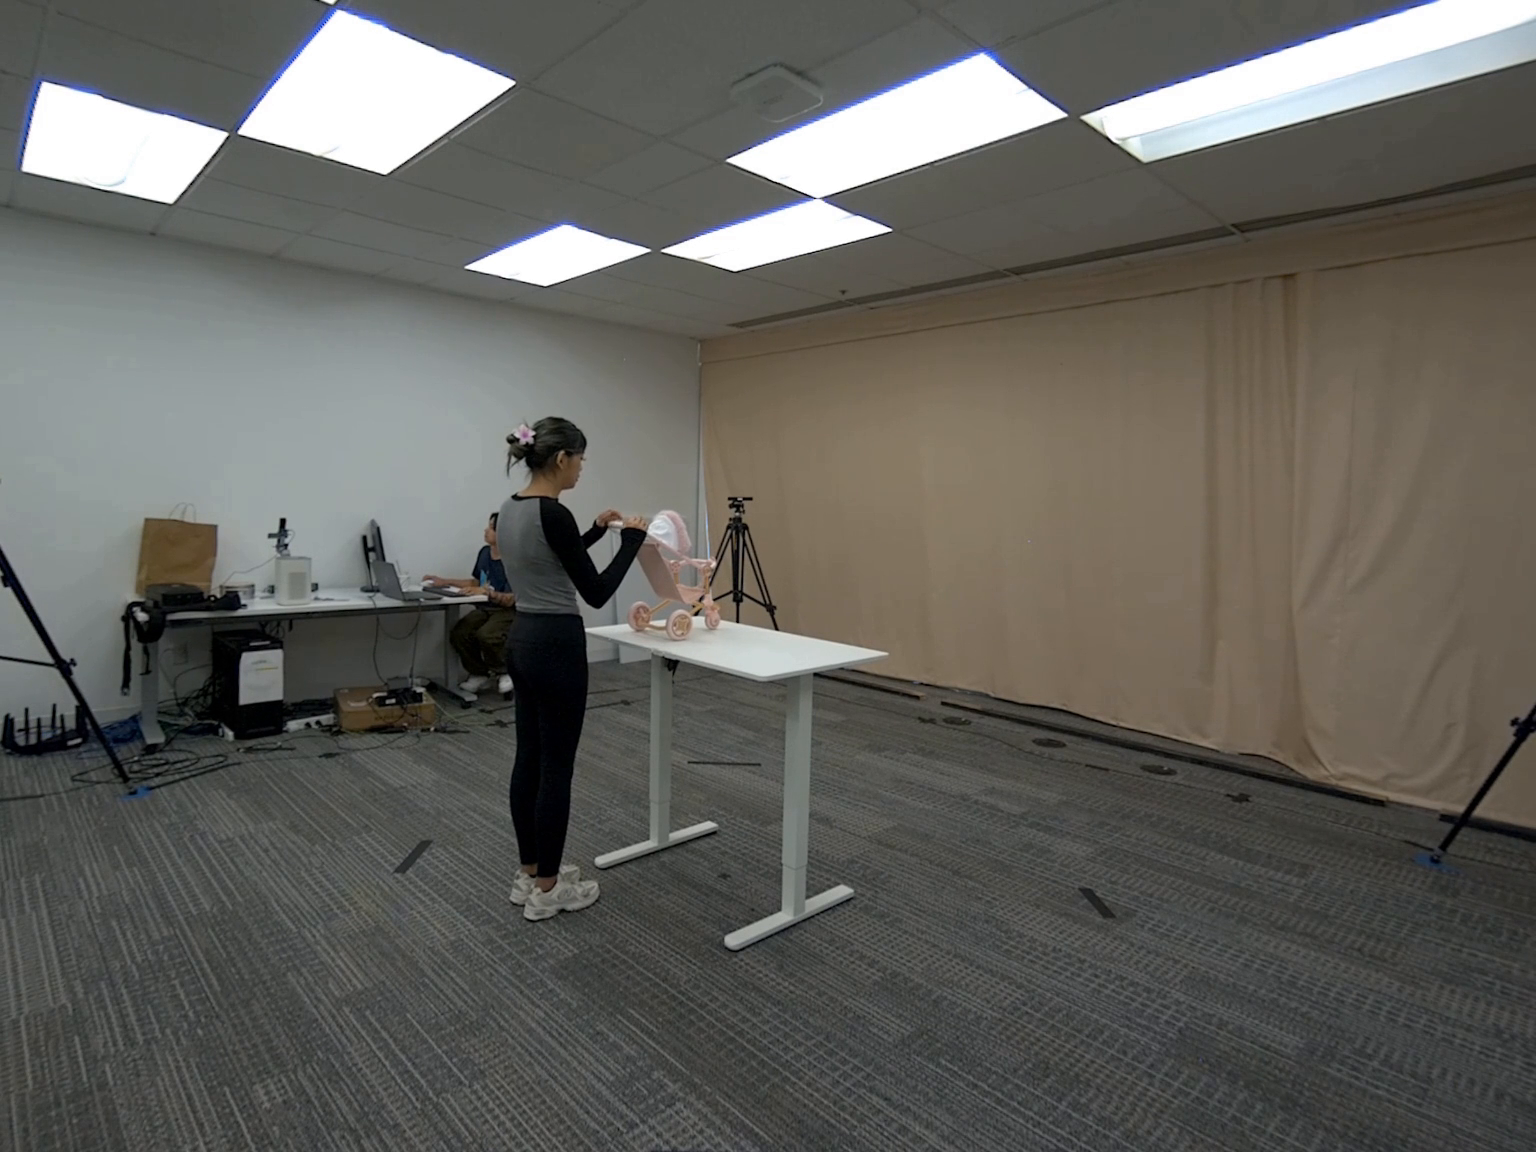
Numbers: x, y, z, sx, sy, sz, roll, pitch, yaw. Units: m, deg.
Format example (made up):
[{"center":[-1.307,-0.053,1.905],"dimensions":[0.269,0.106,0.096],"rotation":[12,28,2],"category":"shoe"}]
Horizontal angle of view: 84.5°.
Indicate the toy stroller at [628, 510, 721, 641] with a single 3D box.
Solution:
[{"center":[-0.358,-0.005,3.109],"dimensions":[0.337,0.529,0.288],"rotation":[-21,17,-35],"category":"toy stroller"}]
